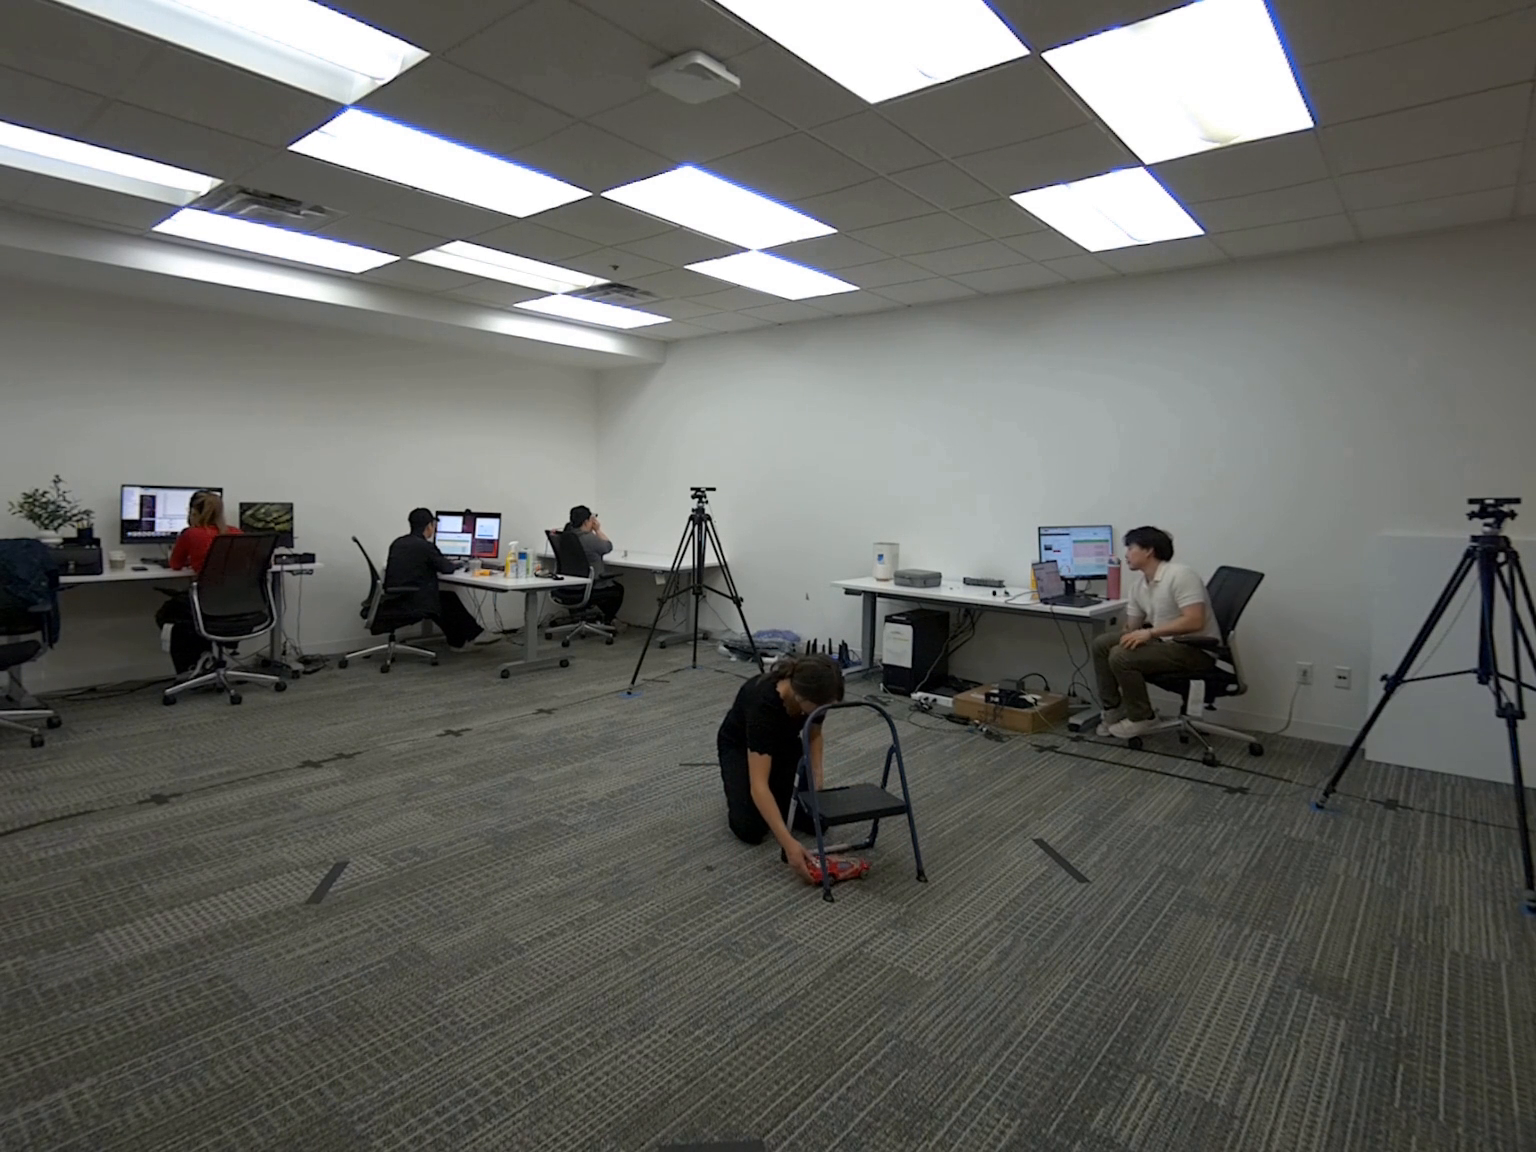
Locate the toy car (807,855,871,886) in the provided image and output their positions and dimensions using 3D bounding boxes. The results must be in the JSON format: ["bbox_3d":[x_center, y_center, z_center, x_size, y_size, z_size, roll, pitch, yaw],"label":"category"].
[{"bbox_3d":[0.227,1.057,3.061,0.248,0.083,0.134,9,2,-24],"label":"toy car"}]
